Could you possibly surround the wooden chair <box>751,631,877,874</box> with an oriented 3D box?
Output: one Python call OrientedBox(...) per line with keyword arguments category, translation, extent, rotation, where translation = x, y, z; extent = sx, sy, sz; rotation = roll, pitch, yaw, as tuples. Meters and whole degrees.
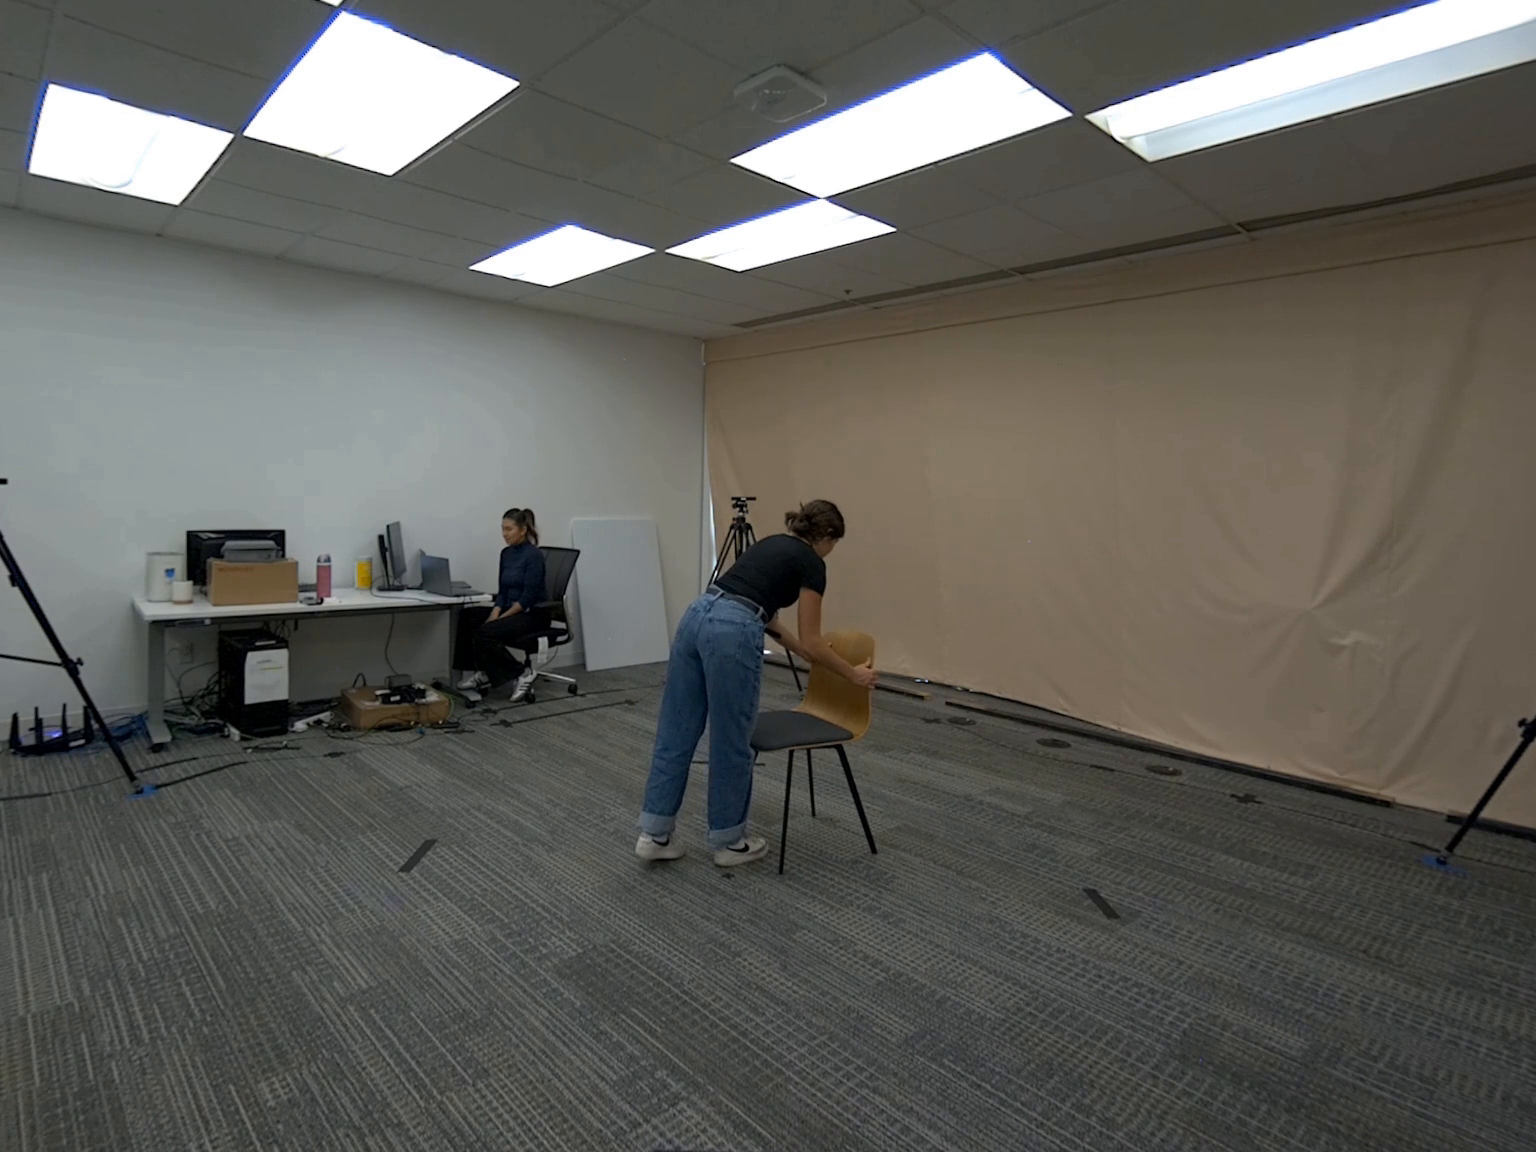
OrientedBox(category="wooden chair", translation=(0.126, 0.657, 3.386), extent=(0.512, 0.876, 0.489), rotation=(4, 2, -31))
